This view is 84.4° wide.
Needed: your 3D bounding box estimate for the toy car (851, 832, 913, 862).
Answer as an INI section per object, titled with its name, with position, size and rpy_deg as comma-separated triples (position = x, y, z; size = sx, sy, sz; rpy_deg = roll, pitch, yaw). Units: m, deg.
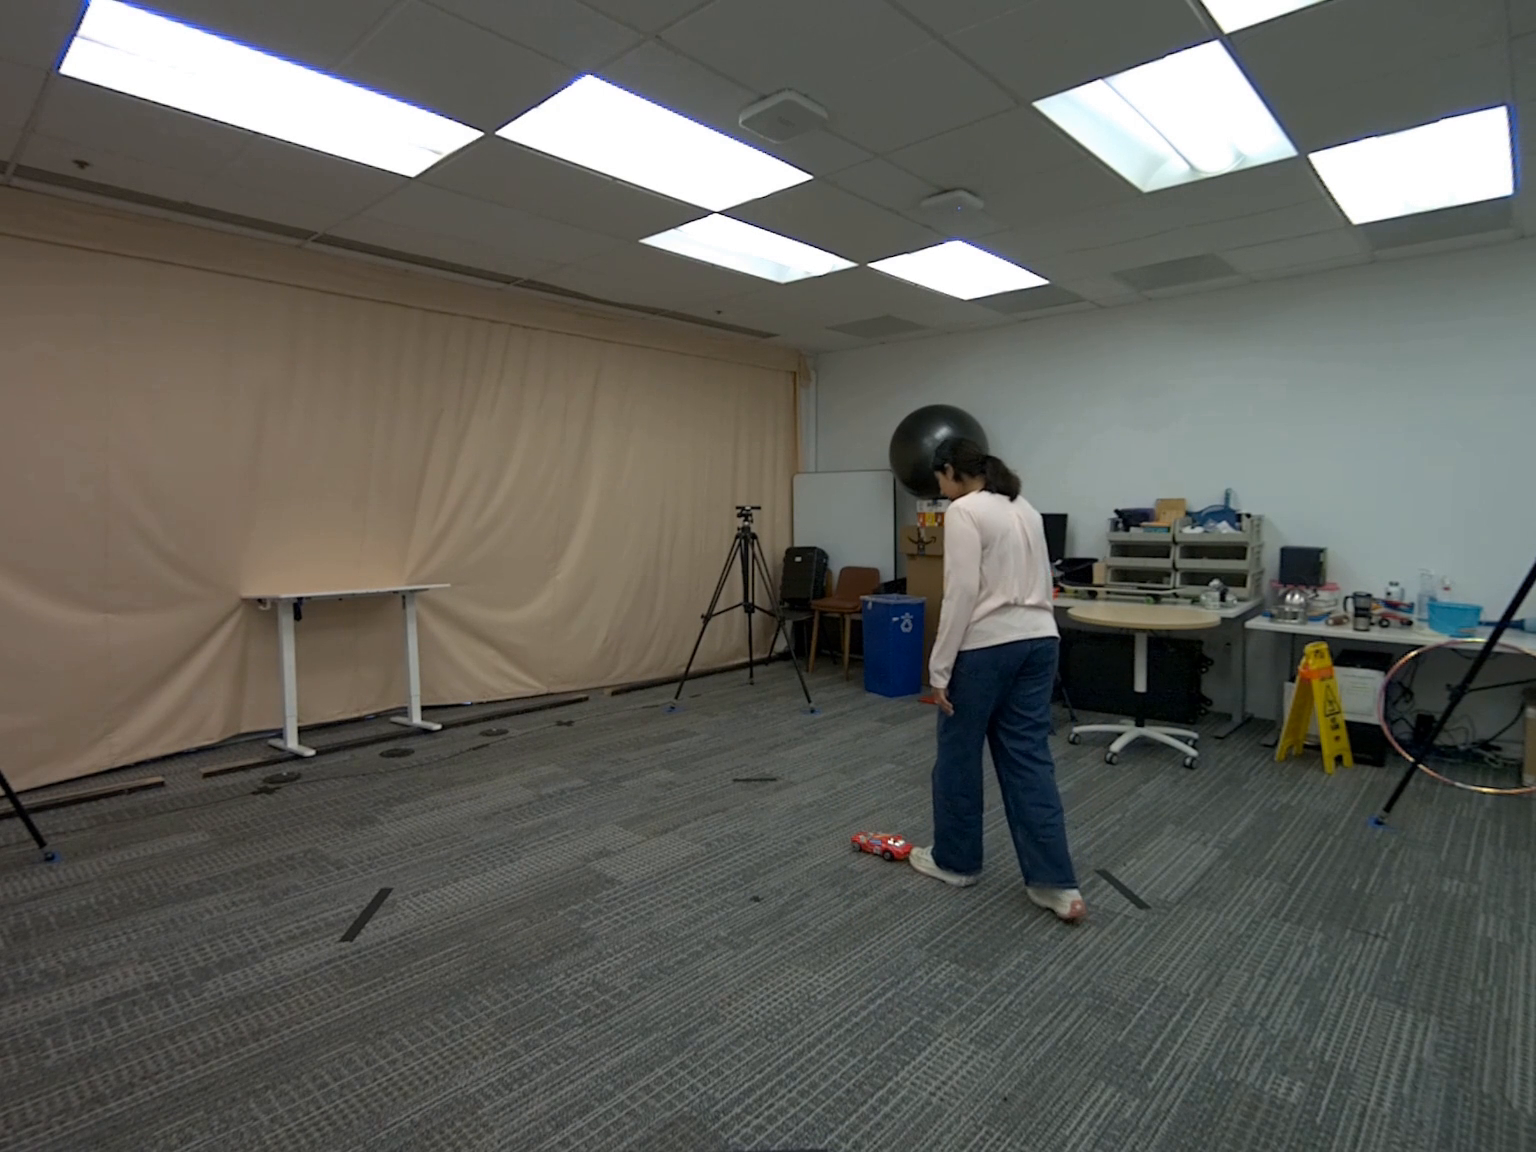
[toy car]
position = 0.466, 1.079, 3.369
size = 0.262, 0.083, 0.126
rpy_deg = -9, -3, 39
